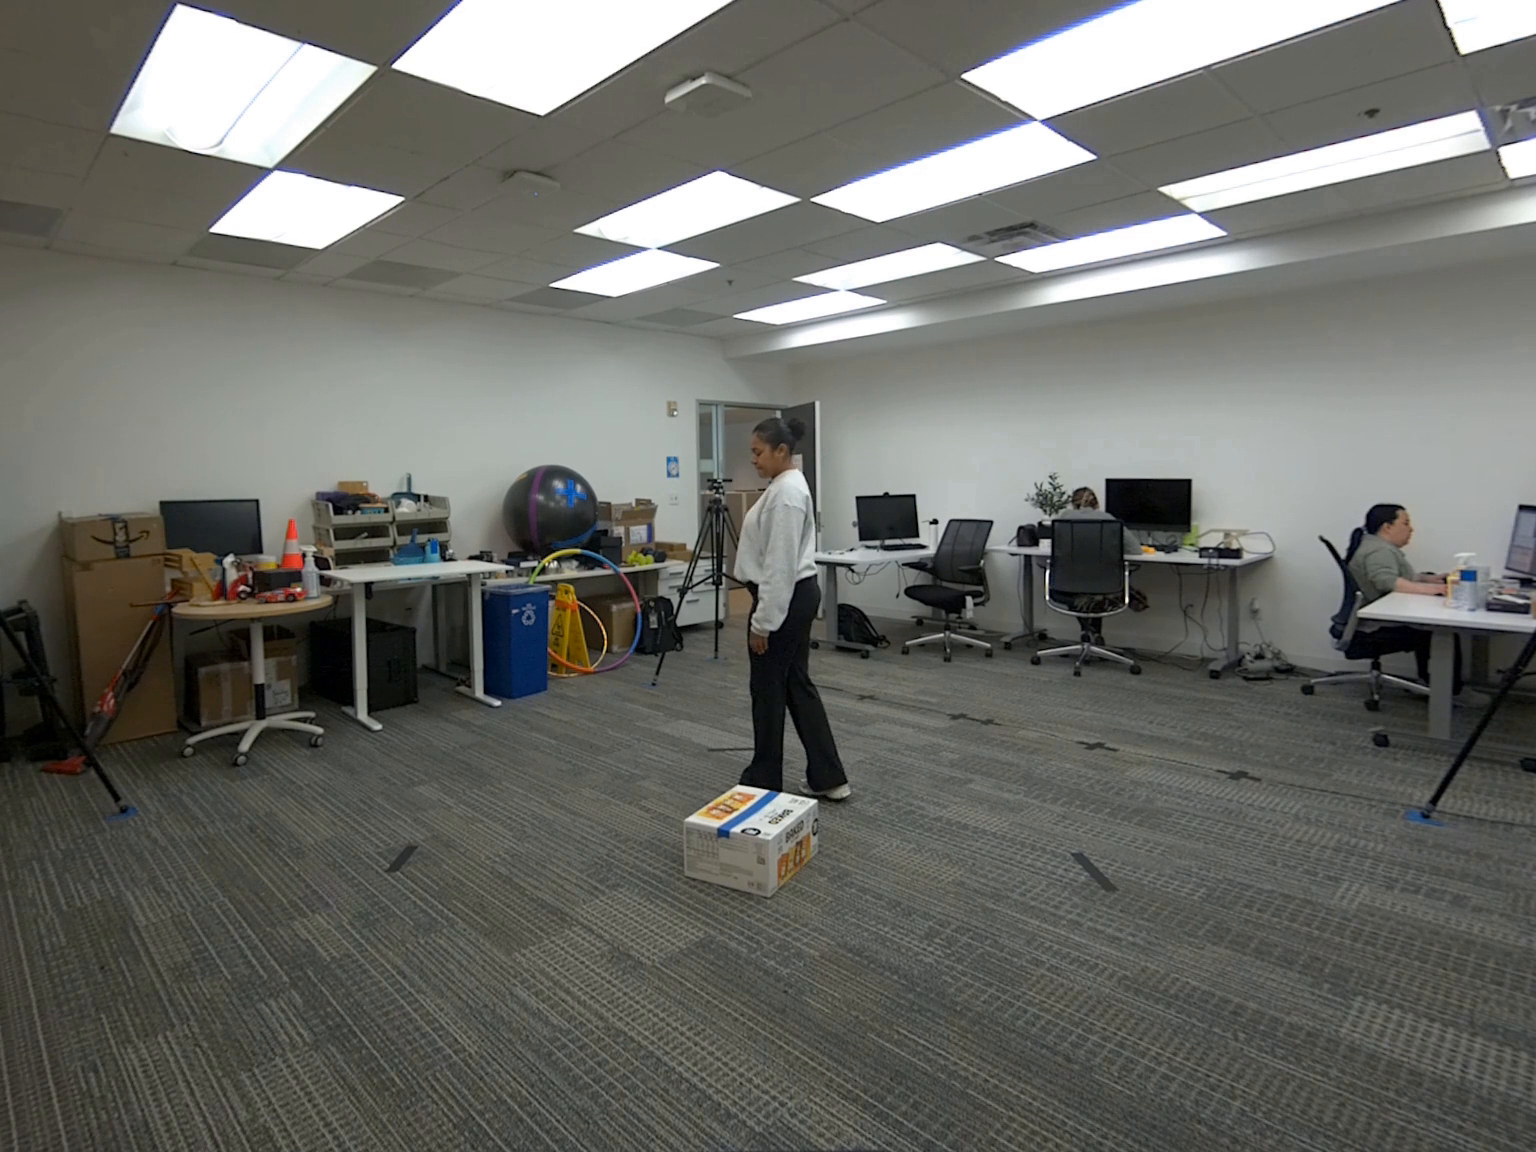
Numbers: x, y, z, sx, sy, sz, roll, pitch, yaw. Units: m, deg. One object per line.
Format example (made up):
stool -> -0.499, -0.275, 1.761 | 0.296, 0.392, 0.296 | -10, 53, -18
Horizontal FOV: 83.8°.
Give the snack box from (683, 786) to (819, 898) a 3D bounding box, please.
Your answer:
snack box -> -0.053, 0.946, 3.091 | 0.349, 0.205, 0.397 | 2, 6, 29
